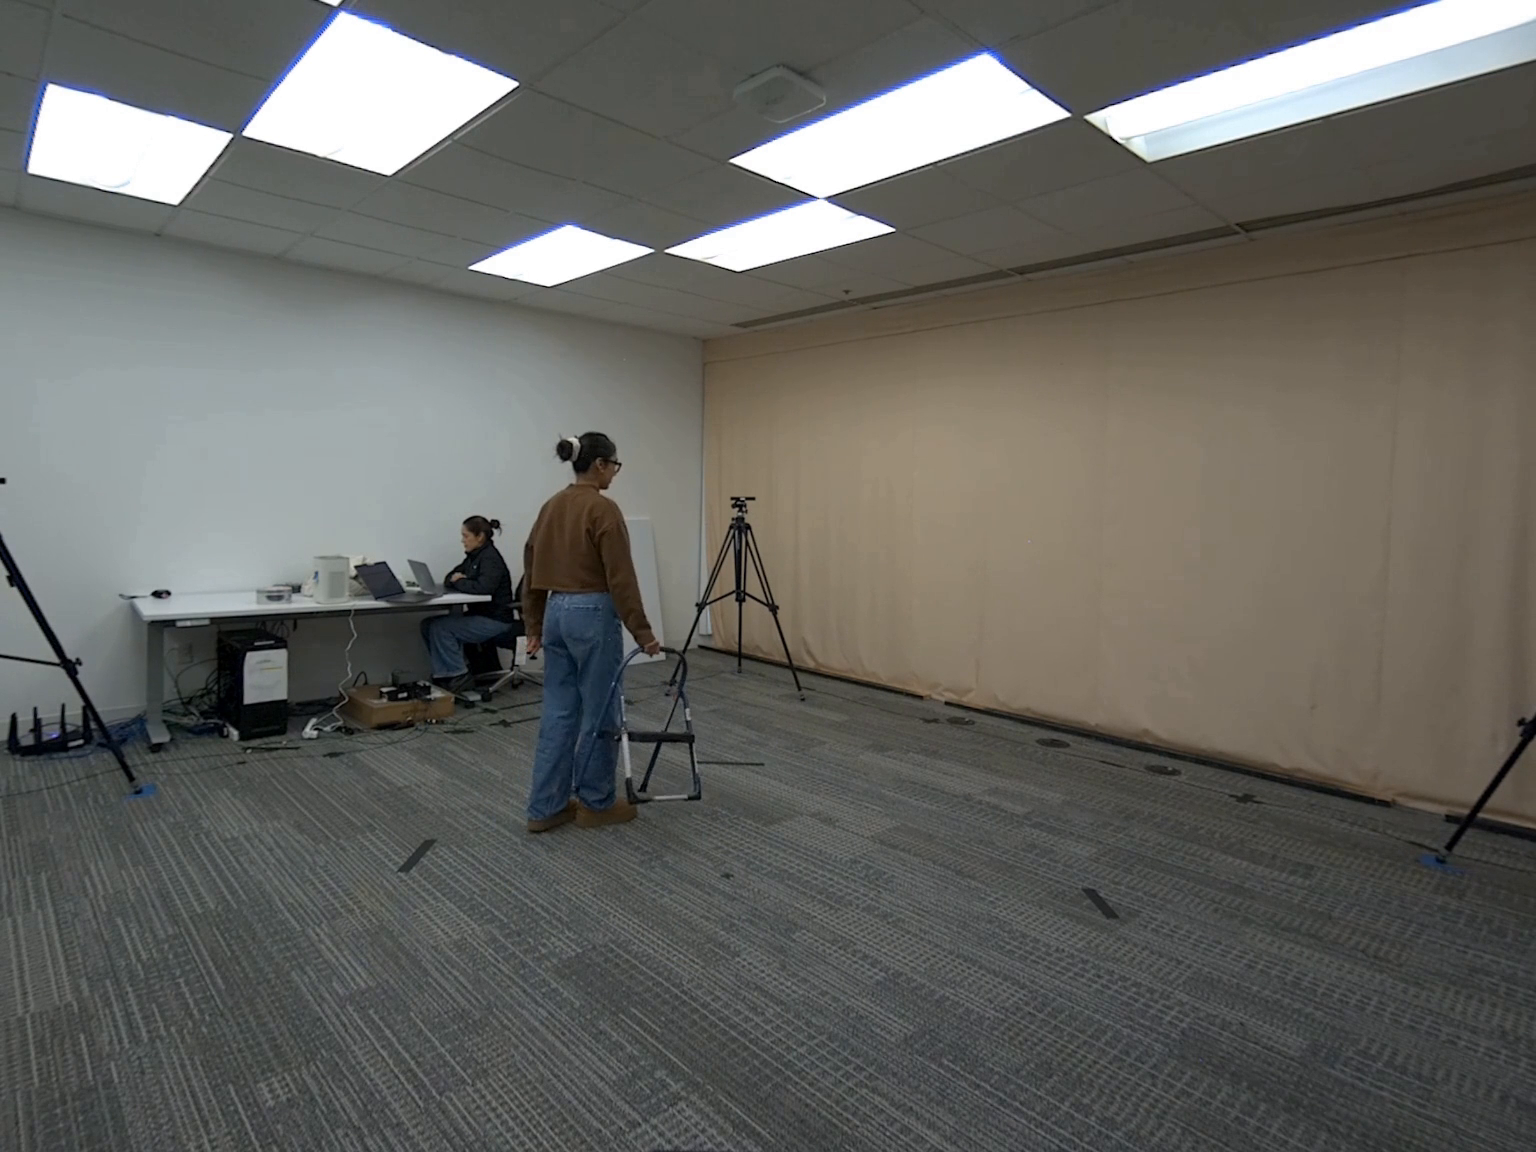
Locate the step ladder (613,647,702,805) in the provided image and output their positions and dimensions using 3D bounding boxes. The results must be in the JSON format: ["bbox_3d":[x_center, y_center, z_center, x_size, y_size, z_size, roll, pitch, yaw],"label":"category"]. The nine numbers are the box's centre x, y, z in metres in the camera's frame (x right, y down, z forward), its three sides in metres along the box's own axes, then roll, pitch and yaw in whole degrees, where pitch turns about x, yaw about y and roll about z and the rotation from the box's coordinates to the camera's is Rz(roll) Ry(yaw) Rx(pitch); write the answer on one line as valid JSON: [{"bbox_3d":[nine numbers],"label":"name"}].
[{"bbox_3d":[-0.524,0.596,3.438,0.356,0.611,0.418,-5,-13,35],"label":"step ladder"}]
